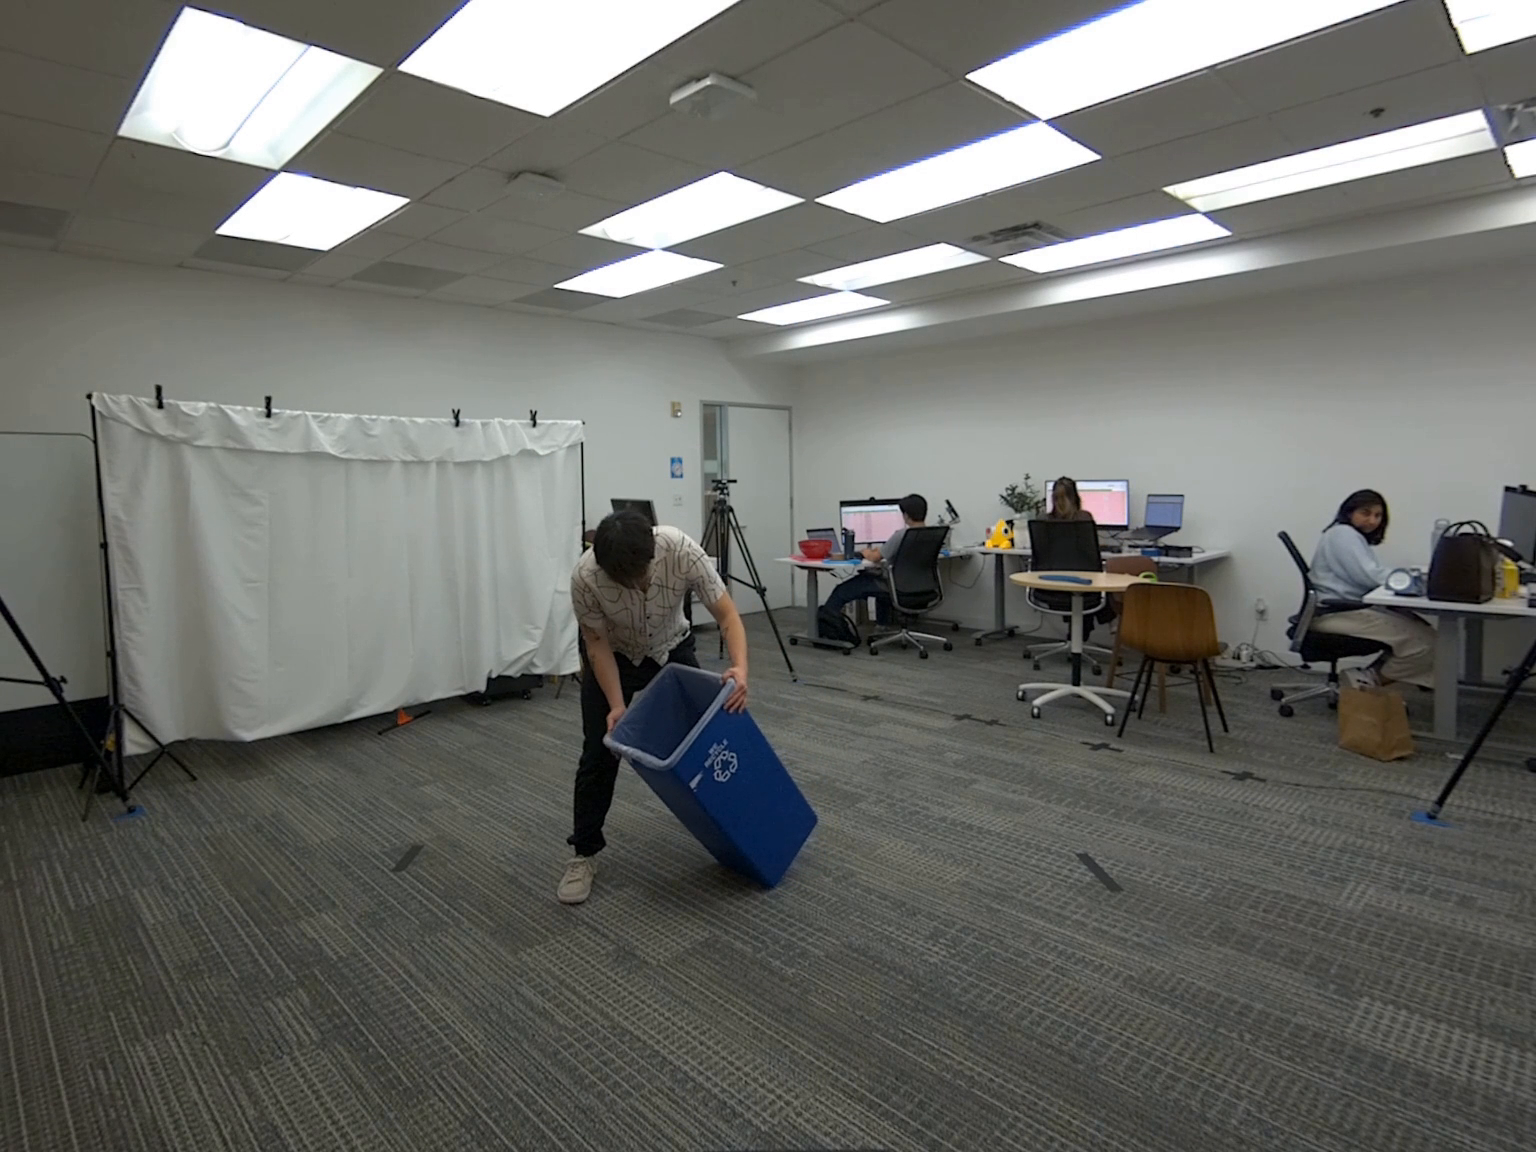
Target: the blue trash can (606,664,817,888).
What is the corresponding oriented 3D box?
[{"bbox_3d":[-0.159,0.697,2.927,0.385,0.692,0.378,3,44,48],"label":"blue trash can"}]
